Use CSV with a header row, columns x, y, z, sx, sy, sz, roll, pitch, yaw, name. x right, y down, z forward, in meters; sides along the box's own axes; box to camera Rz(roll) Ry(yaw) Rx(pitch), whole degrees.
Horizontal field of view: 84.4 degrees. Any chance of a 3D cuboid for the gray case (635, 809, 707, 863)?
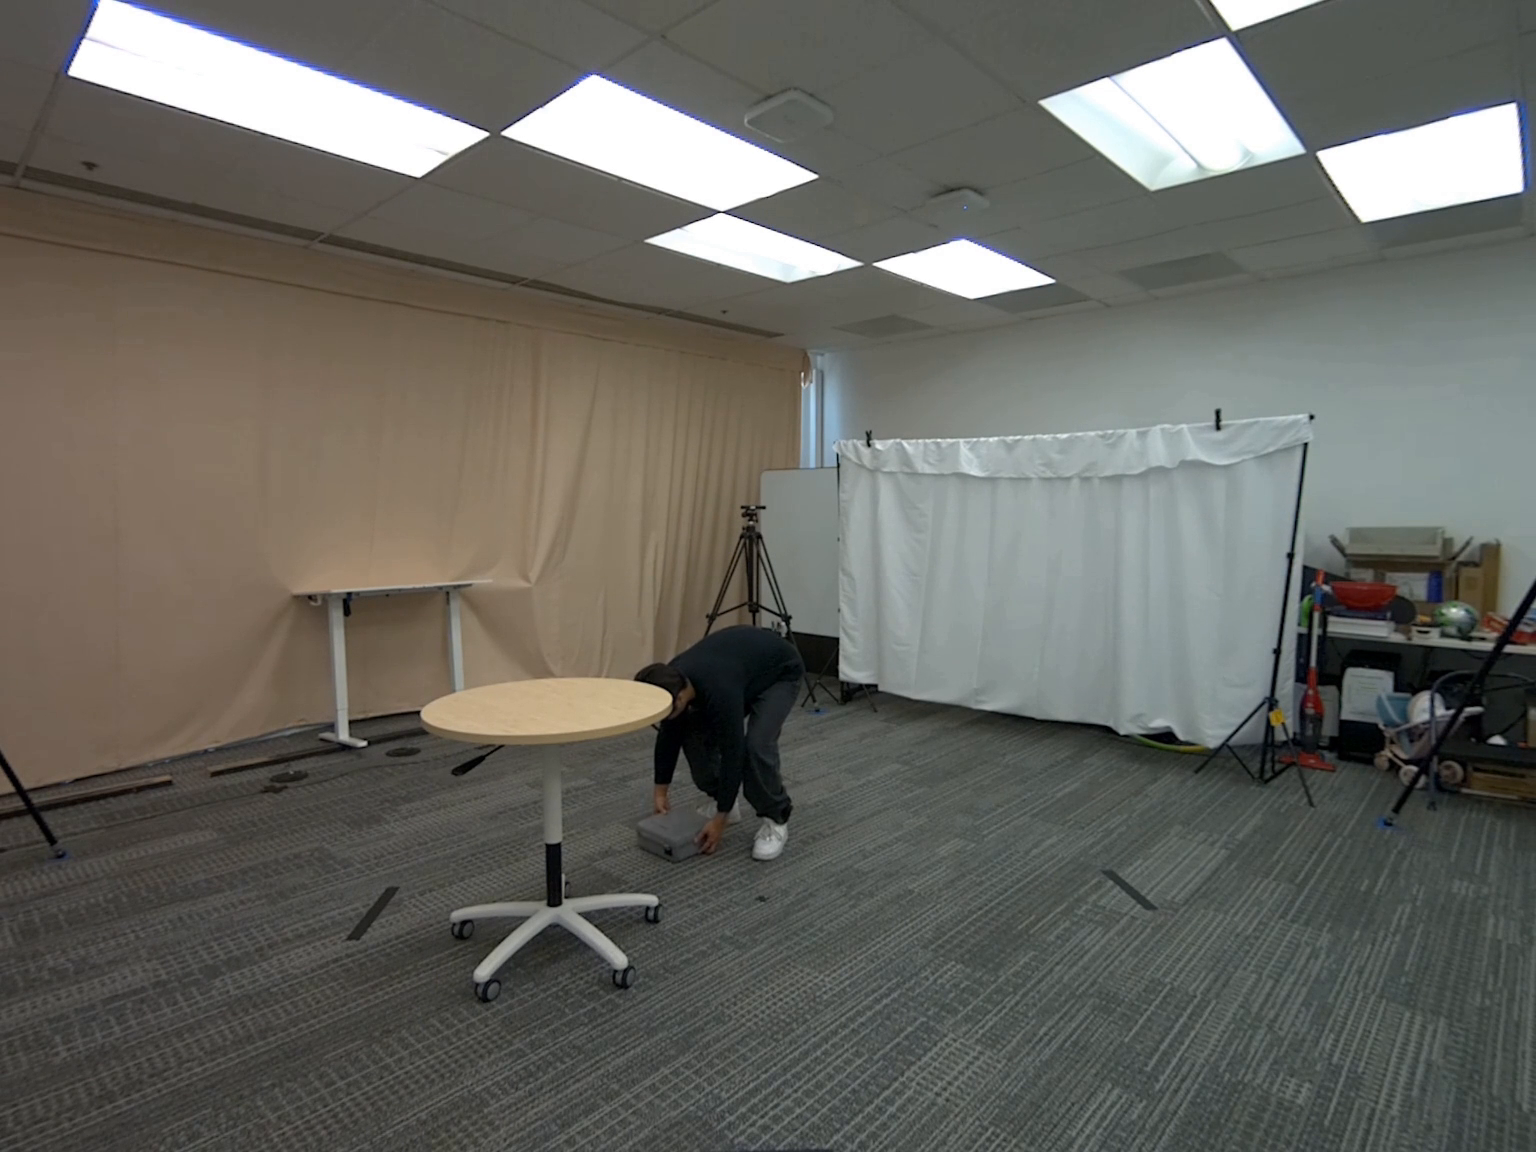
x,y,z,sx,sy,sz,roll,pitch,yaw,name
-0.370,1.046,3.451,0.265,0.104,0.253,4,9,44,gray case
